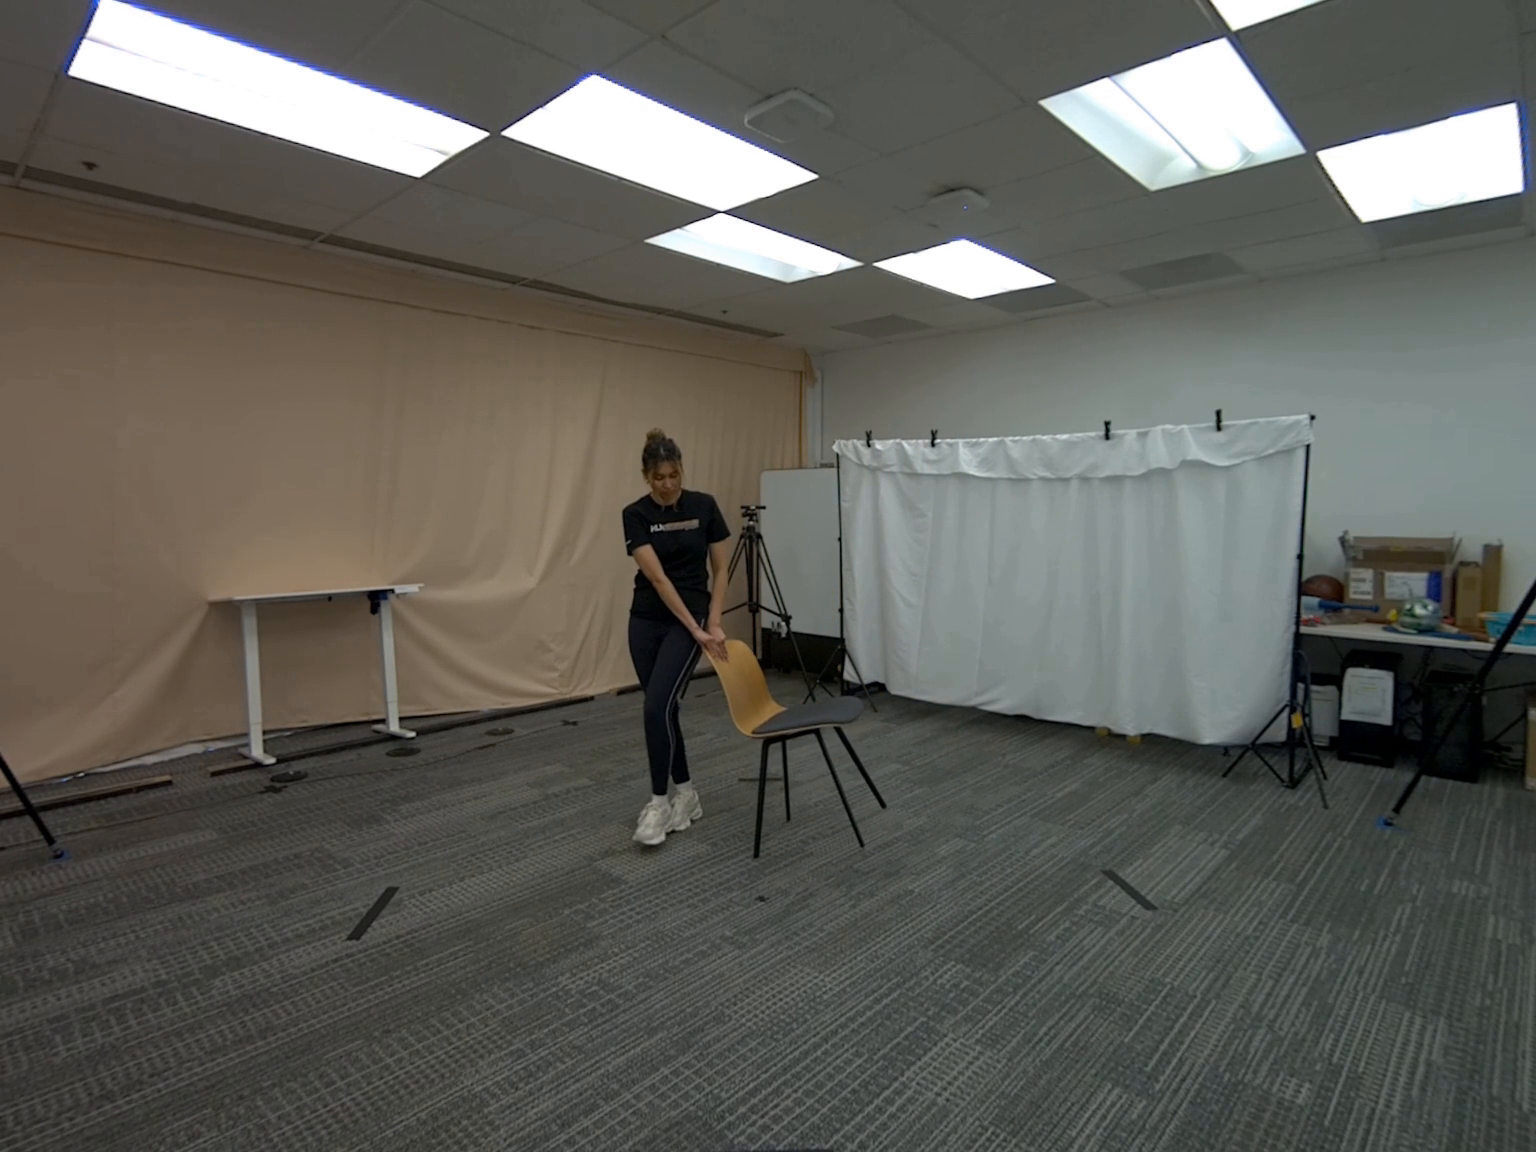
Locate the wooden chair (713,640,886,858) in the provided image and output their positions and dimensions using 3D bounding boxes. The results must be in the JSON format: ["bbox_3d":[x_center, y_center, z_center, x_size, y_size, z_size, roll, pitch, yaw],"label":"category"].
[{"bbox_3d":[0.133,0.635,3.447,0.532,0.881,0.468,-19,-4,21],"label":"wooden chair"}]
